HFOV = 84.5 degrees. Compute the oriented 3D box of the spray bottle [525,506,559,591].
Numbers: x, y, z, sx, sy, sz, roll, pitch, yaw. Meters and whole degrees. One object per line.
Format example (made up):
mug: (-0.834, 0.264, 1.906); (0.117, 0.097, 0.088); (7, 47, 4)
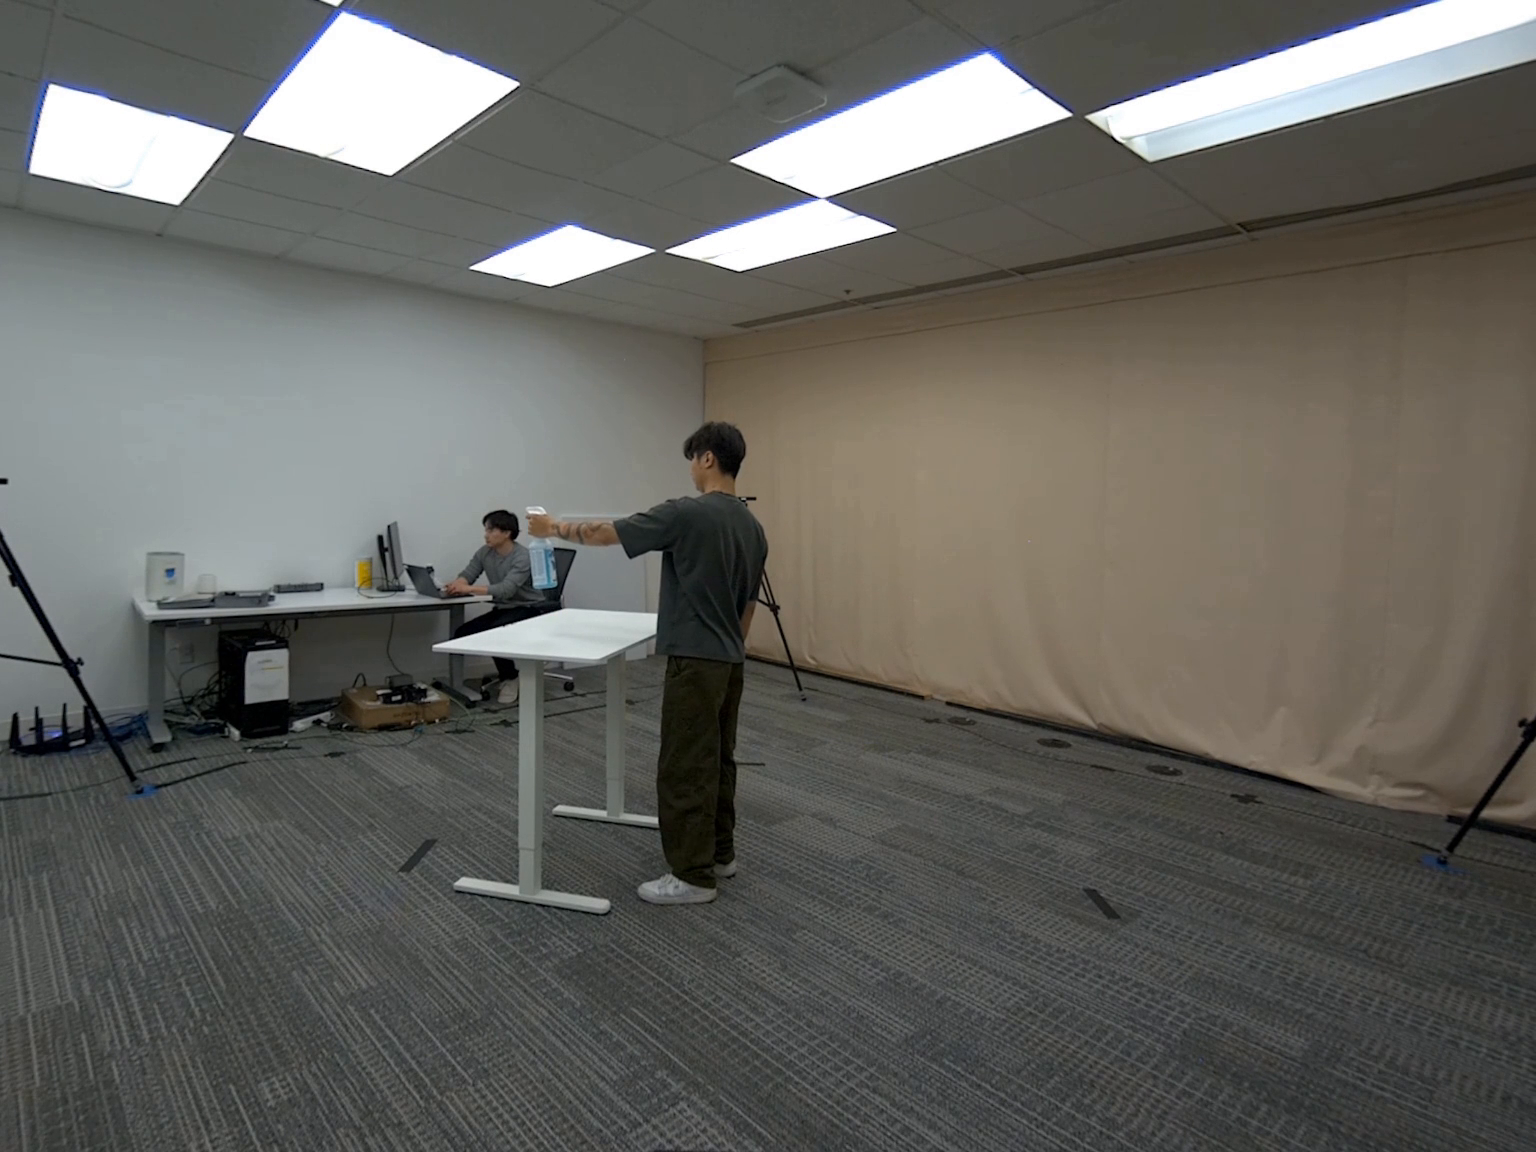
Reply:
spray bottle: (-0.829, -0.102, 3.070); (0.085, 0.297, 0.092); (-8, 4, -36)
